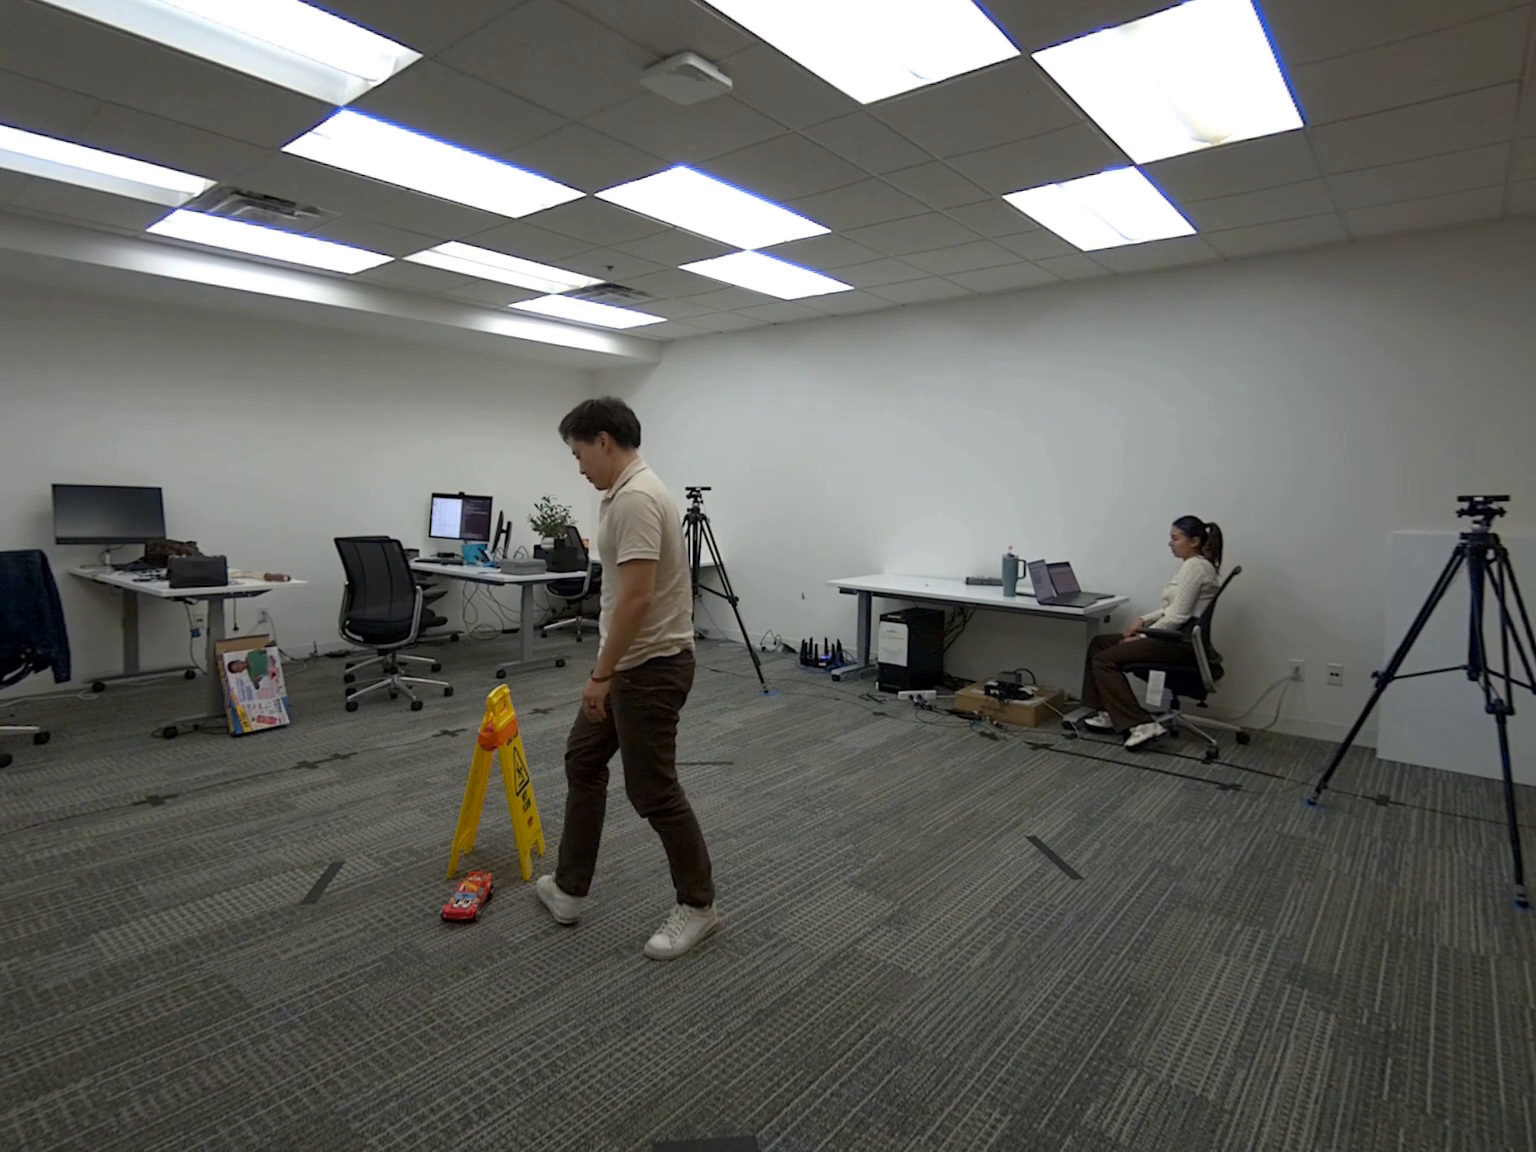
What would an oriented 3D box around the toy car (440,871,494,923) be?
[{"bbox_3d":[-0.991,1.052,2.803,0.130,0.082,0.258,0,17,0],"label":"toy car"}]
